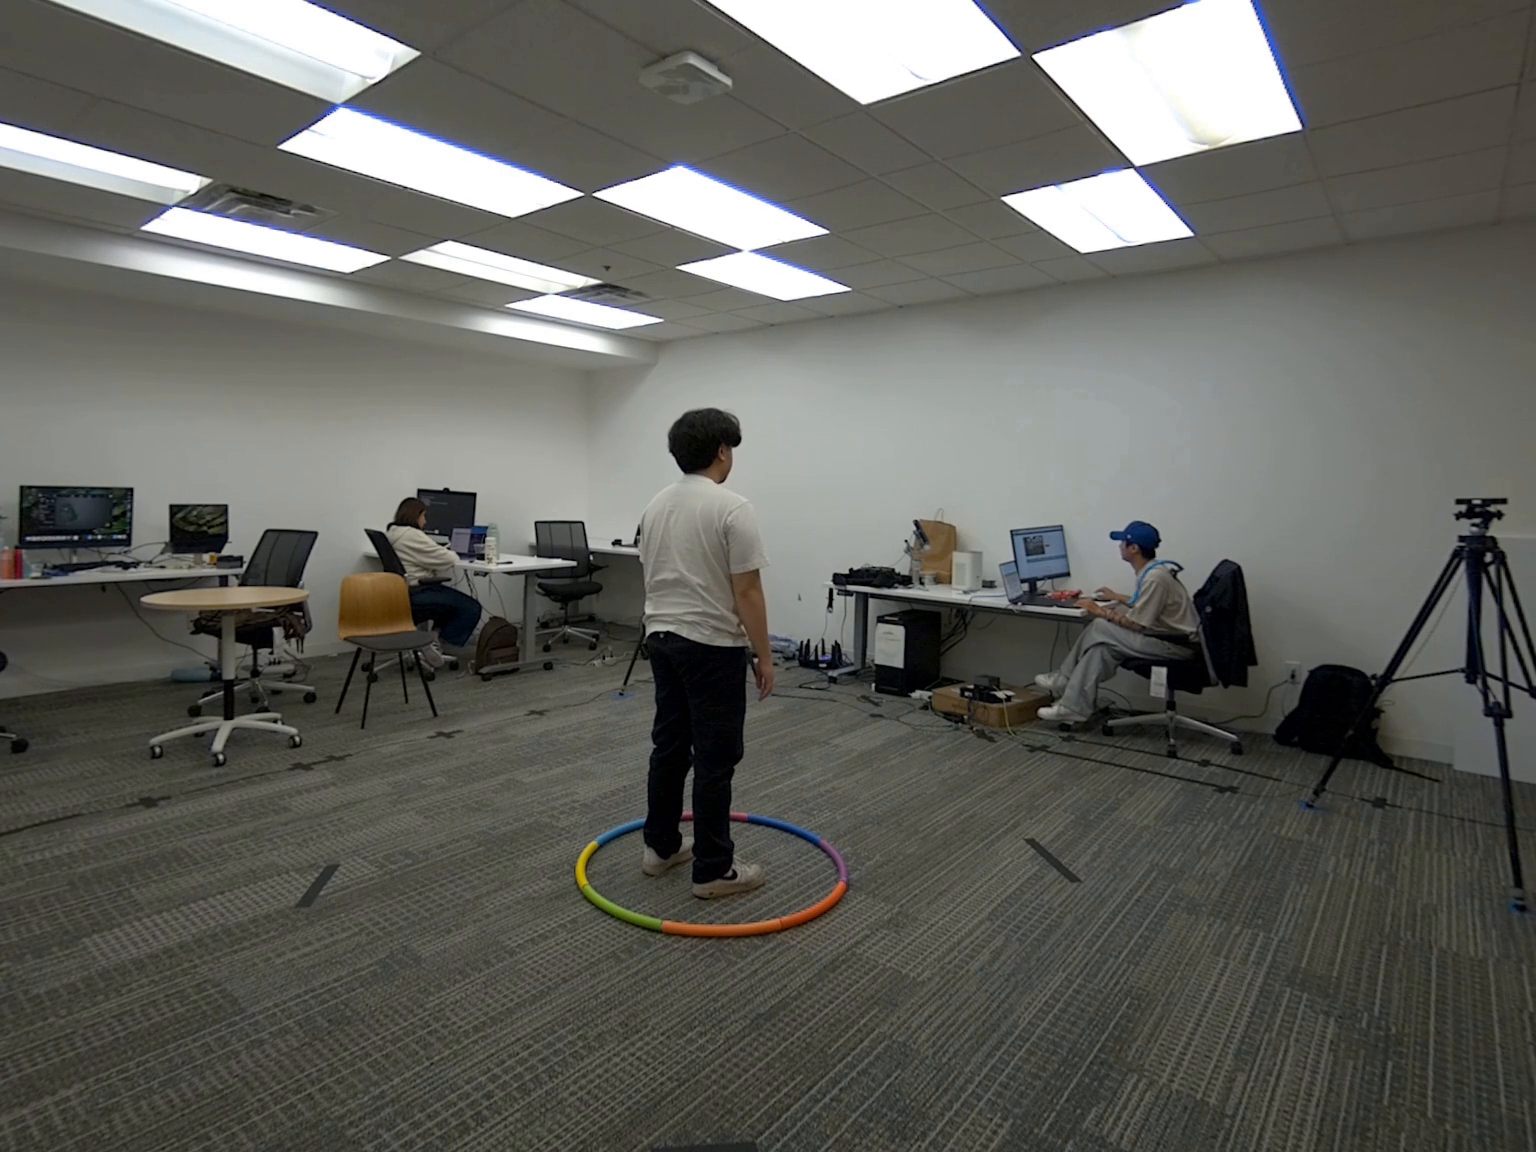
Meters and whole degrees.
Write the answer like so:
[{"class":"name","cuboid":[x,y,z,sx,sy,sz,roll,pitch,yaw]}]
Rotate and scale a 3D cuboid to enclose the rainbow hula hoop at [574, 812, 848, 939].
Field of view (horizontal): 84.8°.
[{"class":"rainbow hula hoop","cuboid":[-0.212,1.043,3.106,0.984,0.051,0.990,1,5,-2]}]
